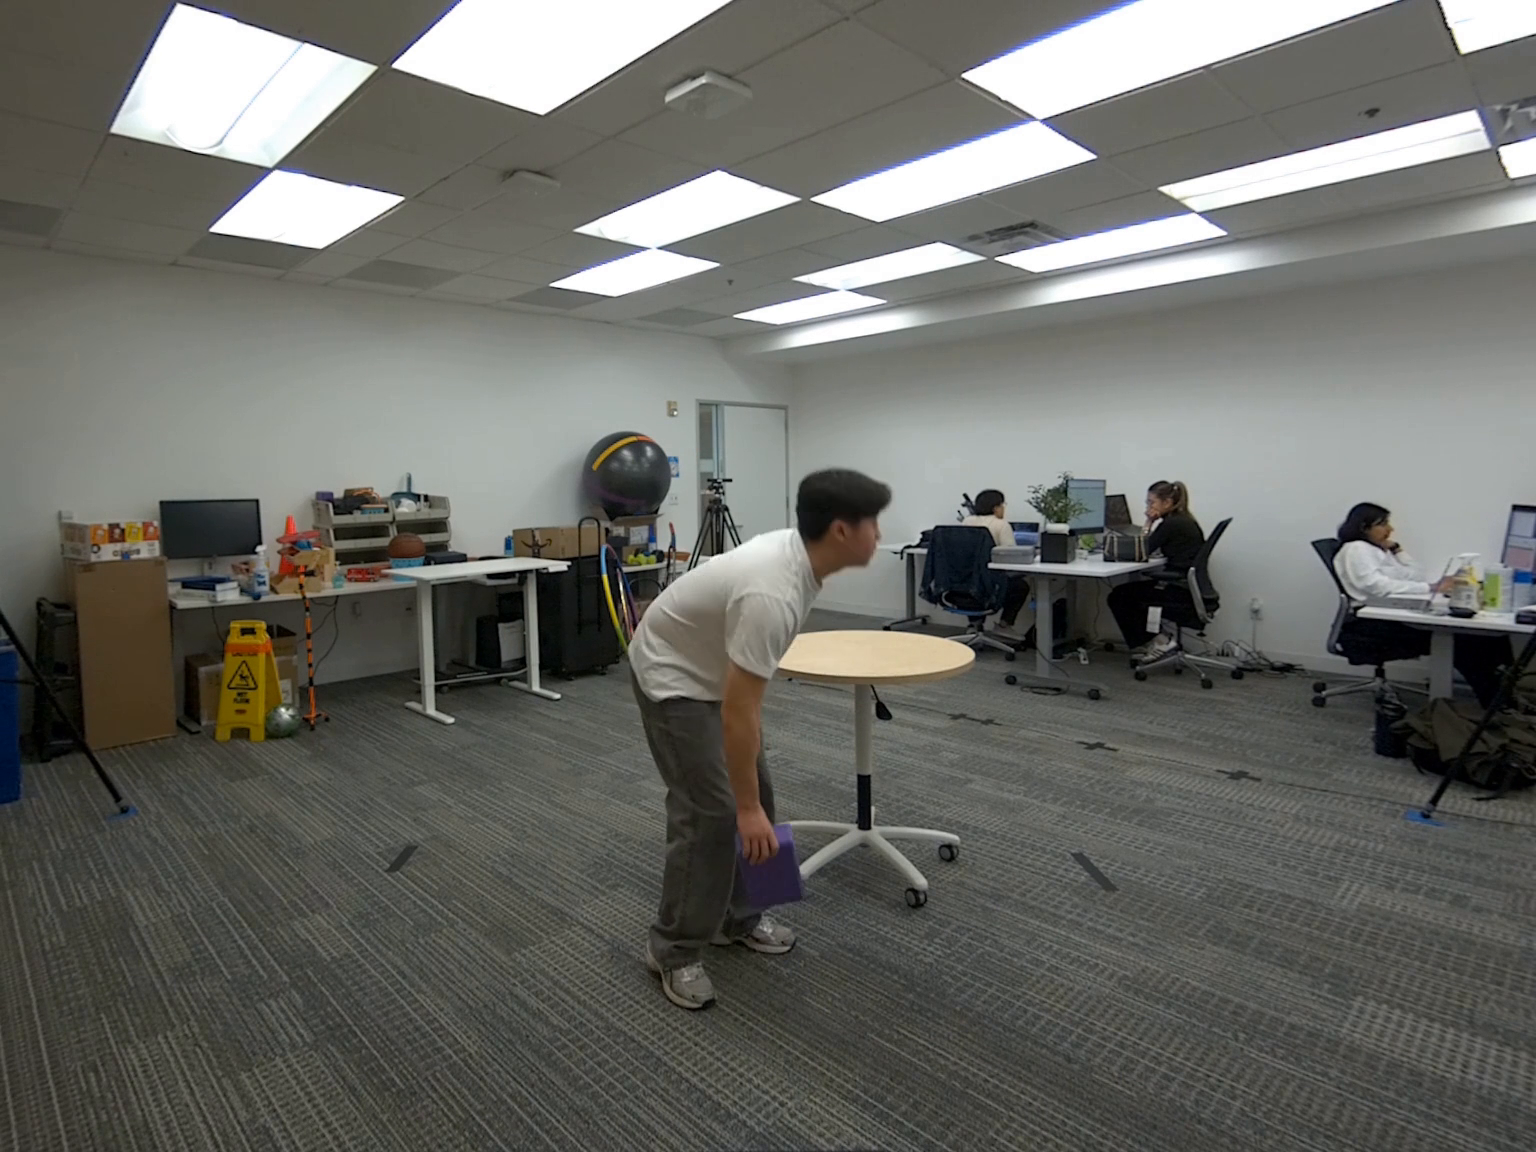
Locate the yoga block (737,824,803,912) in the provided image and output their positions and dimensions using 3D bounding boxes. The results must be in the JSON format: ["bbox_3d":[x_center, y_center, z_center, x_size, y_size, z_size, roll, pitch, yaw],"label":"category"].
[{"bbox_3d":[-0.005,0.783,2.263,0.149,0.224,0.078,-8,26,0],"label":"yoga block"}]
